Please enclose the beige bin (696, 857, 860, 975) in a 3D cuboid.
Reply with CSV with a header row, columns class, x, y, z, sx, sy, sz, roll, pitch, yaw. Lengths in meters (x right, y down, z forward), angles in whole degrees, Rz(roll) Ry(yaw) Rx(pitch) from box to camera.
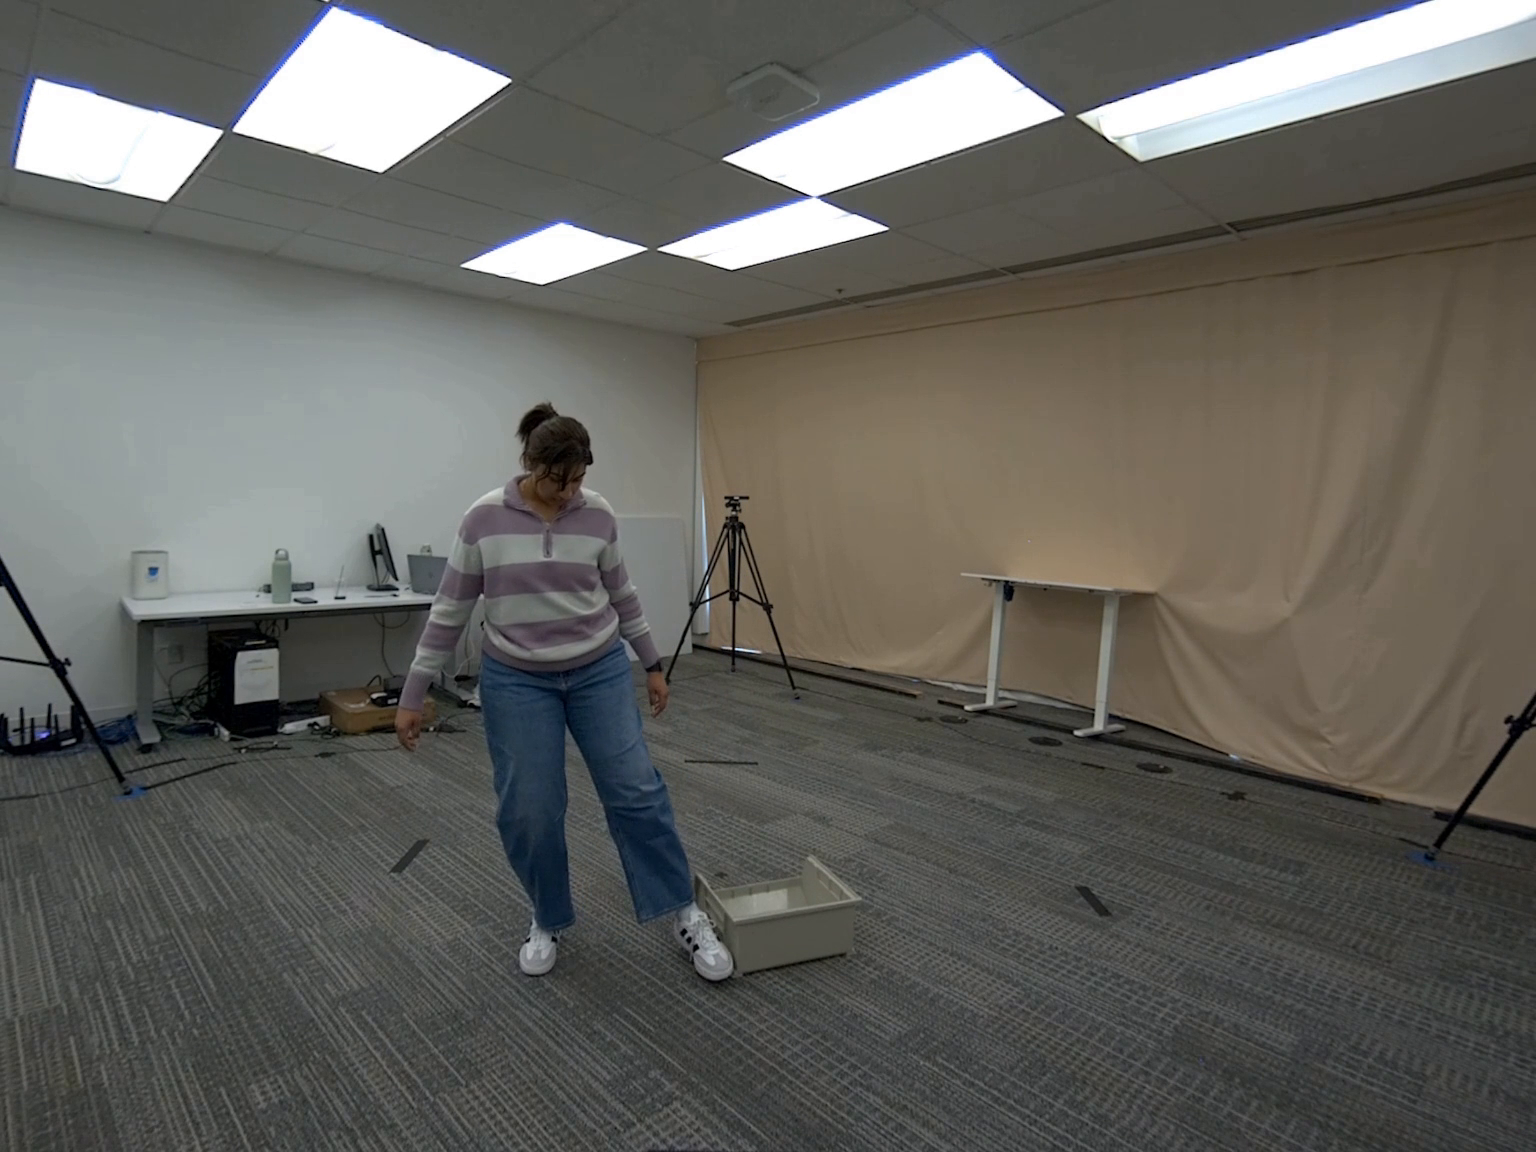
class,x,y,z,sx,sy,sz,roll,pitch,yaw
beige bin,0.011,1.061,2.661,0.415,0.188,0.385,0,6,-23
